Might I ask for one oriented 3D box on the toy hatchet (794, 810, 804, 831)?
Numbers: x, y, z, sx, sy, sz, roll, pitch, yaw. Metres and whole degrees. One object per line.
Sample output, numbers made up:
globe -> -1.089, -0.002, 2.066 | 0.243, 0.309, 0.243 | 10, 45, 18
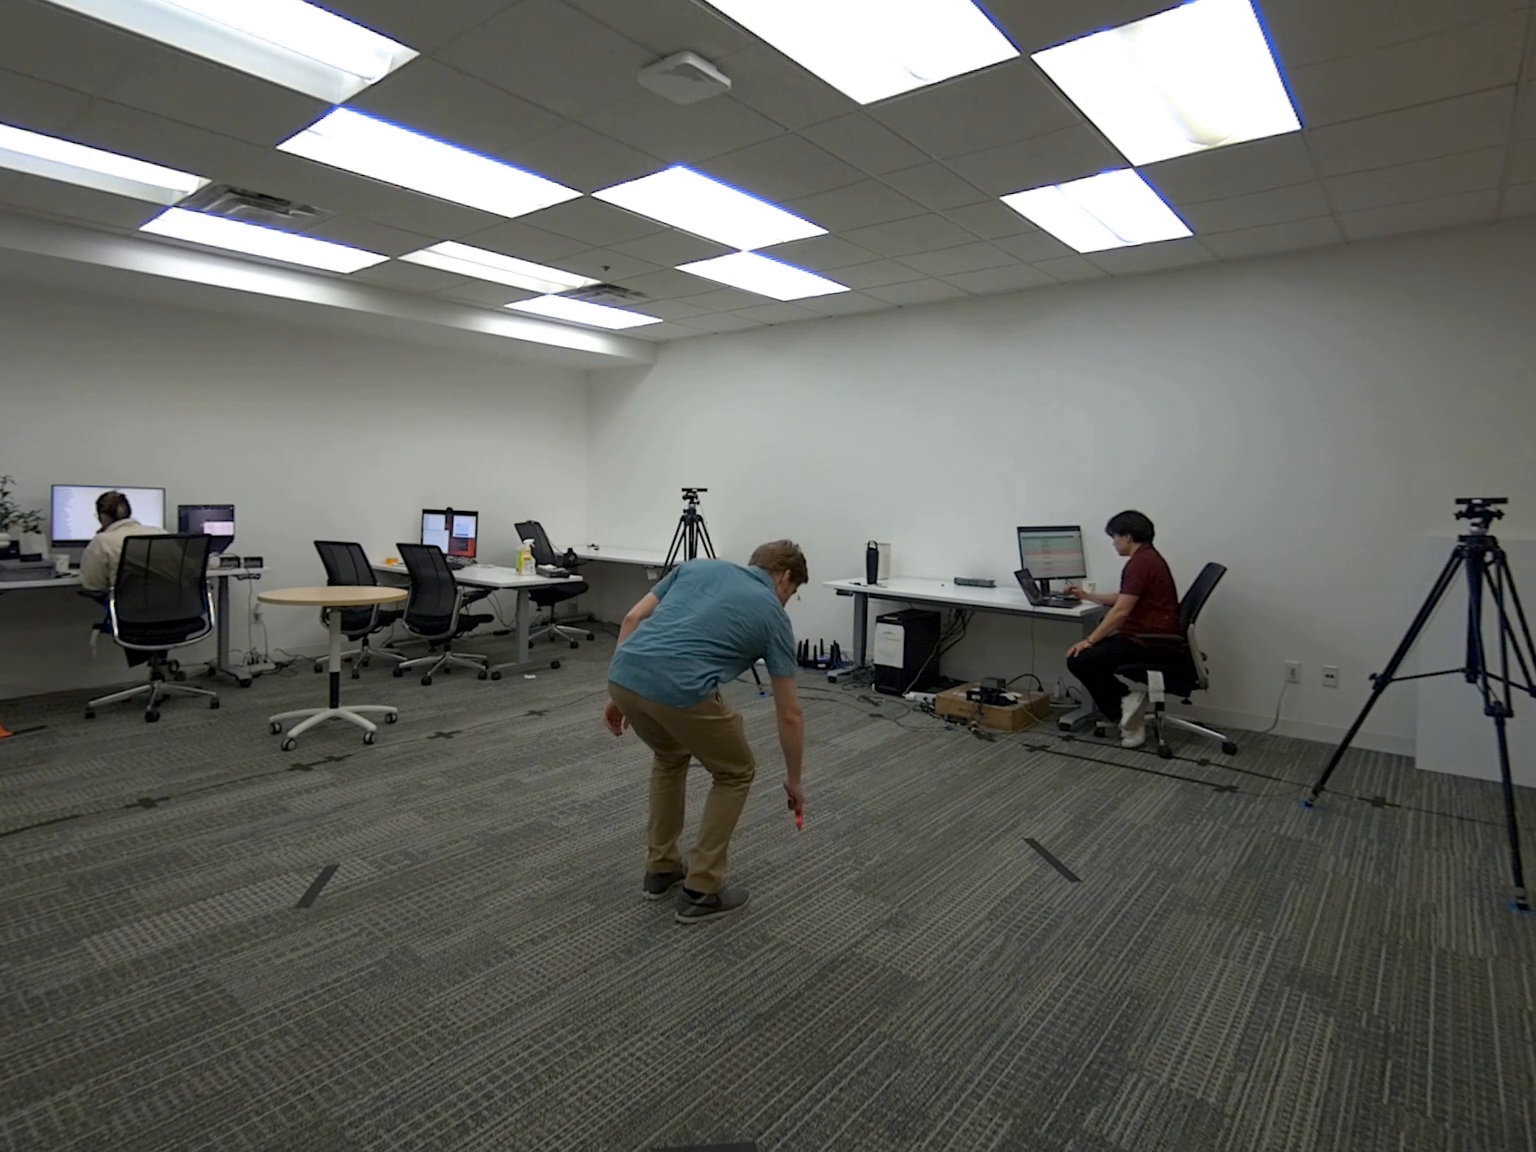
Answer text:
toy hatchet -> 0.098, 0.876, 3.051 | 0.030, 0.131, 0.268 | -14, 1, 6
